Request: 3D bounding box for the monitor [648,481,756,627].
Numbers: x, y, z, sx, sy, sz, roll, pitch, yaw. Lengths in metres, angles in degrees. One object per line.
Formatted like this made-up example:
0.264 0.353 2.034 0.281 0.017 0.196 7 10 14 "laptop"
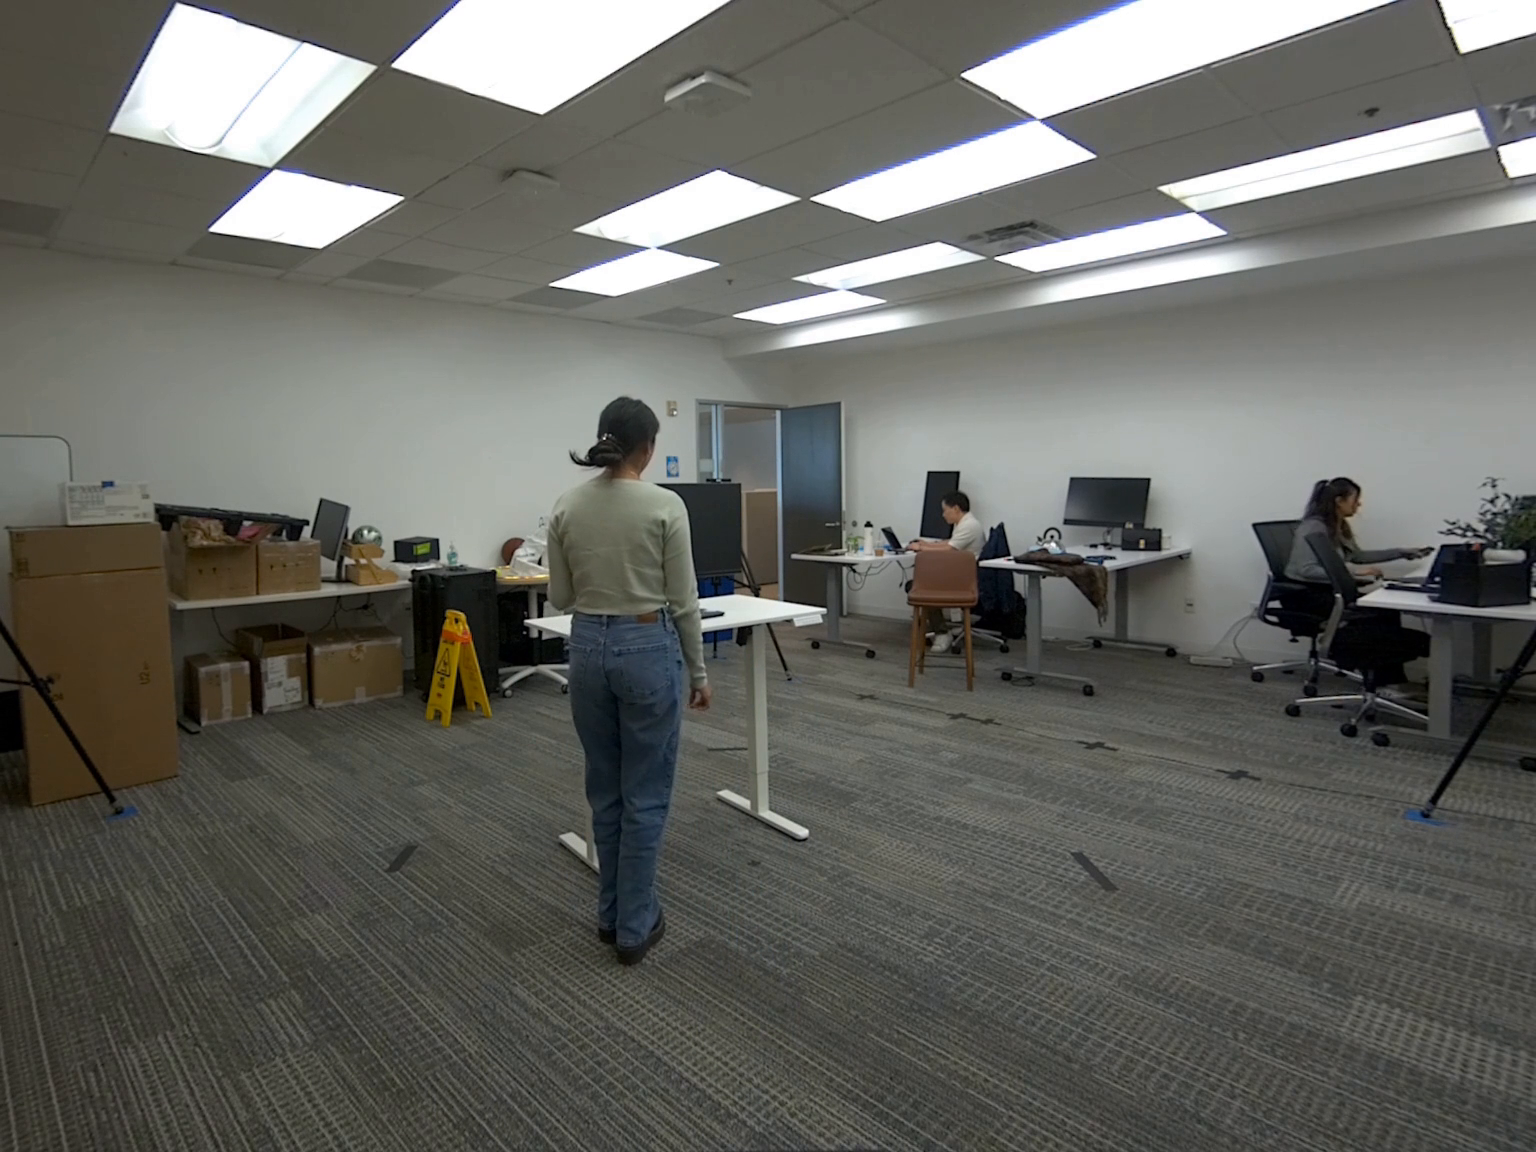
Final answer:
-0.326 -0.085 3.186 0.525 0.519 0.193 -4 9 -39 "monitor"
